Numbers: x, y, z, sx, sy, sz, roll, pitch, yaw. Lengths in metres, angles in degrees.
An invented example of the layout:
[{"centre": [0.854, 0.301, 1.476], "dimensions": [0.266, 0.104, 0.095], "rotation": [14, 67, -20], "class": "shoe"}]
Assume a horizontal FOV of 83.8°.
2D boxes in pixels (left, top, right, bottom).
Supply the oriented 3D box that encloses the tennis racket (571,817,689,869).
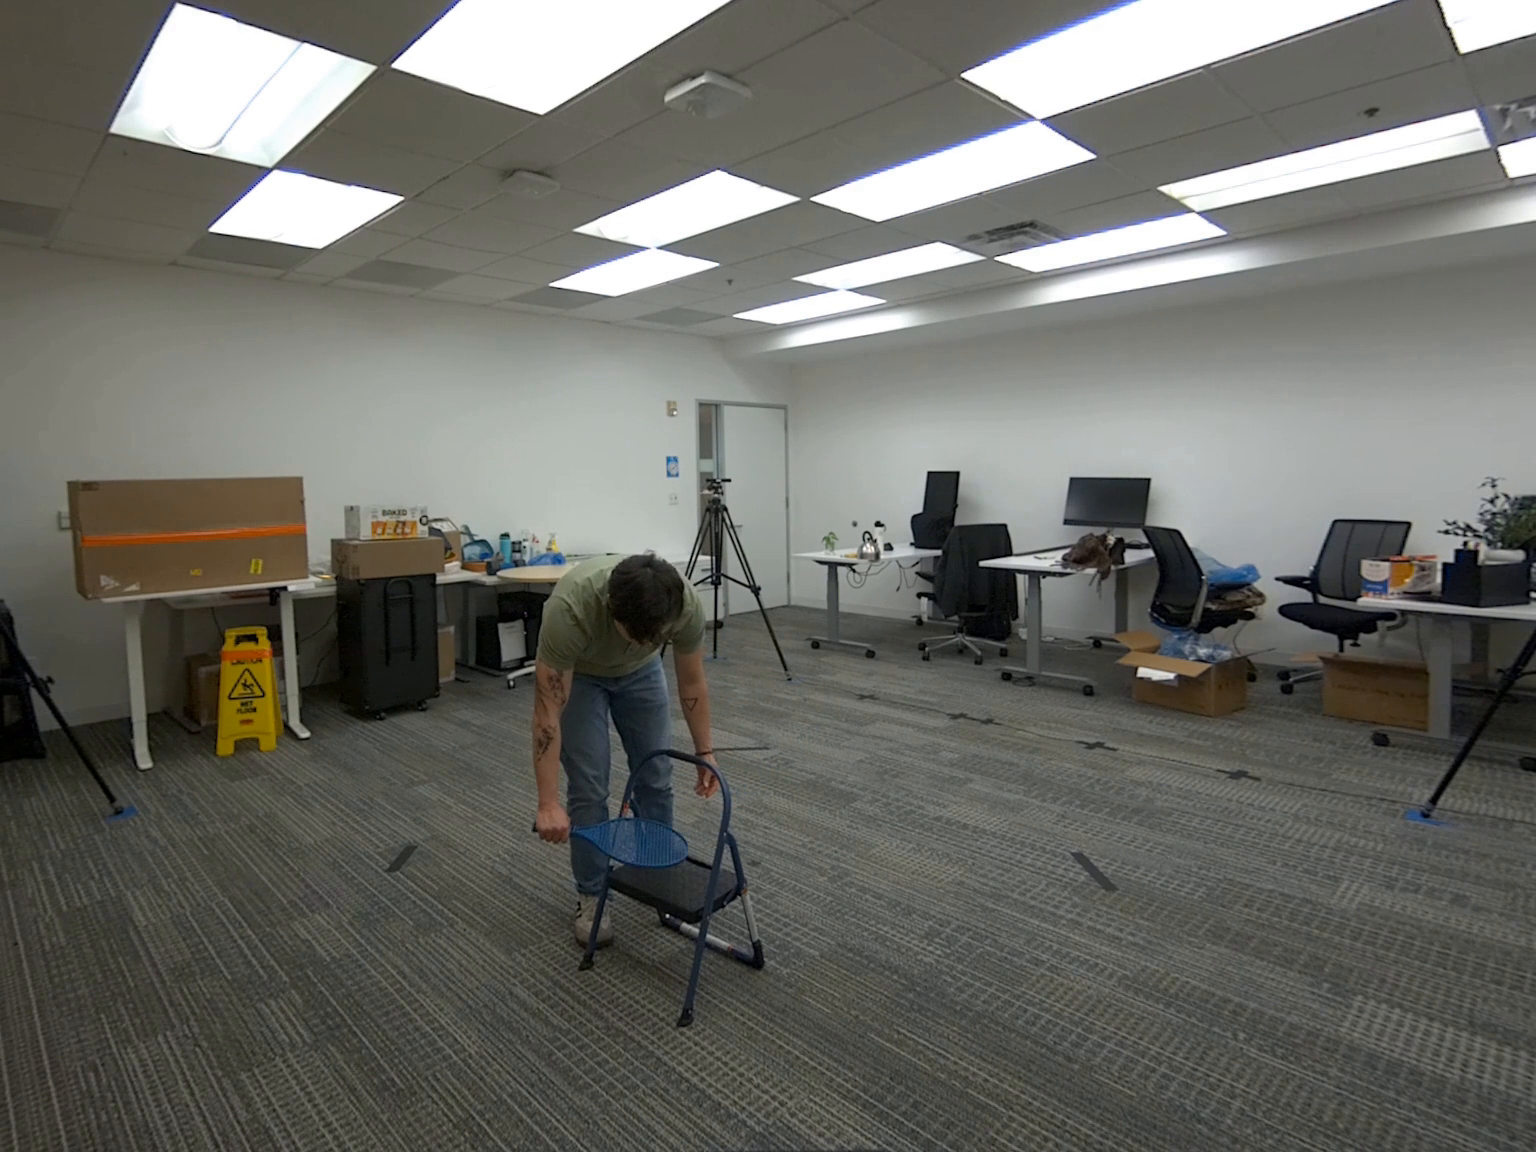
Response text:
[{"centre": [-0.407, 0.718, 2.357], "dimensions": [0.432, 0.031, 0.217], "rotation": [11, 17, -2], "class": "tennis racket"}]
